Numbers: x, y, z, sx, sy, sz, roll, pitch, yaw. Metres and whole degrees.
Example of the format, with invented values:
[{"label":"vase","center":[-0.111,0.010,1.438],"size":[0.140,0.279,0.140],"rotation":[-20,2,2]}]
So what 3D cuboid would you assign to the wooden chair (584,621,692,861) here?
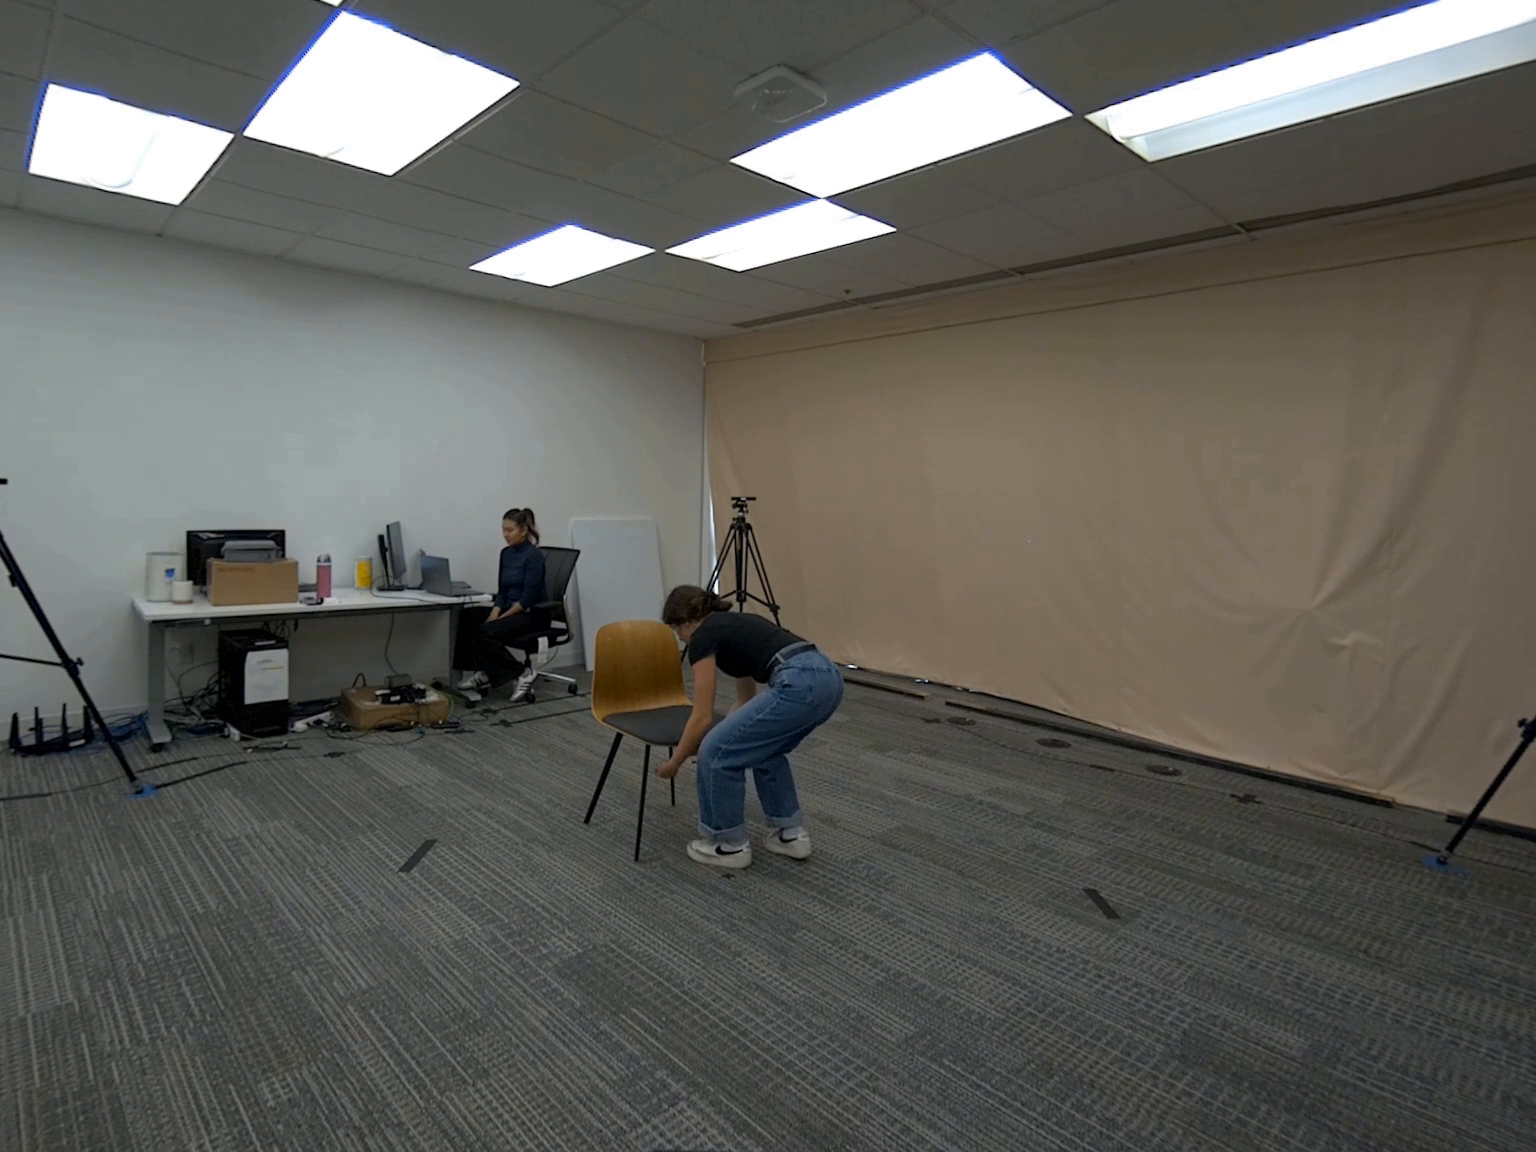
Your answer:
[{"label":"wooden chair","center":[-0.451,0.635,3.484],"size":[0.467,0.878,0.535],"rotation":[0,0,-37]}]
